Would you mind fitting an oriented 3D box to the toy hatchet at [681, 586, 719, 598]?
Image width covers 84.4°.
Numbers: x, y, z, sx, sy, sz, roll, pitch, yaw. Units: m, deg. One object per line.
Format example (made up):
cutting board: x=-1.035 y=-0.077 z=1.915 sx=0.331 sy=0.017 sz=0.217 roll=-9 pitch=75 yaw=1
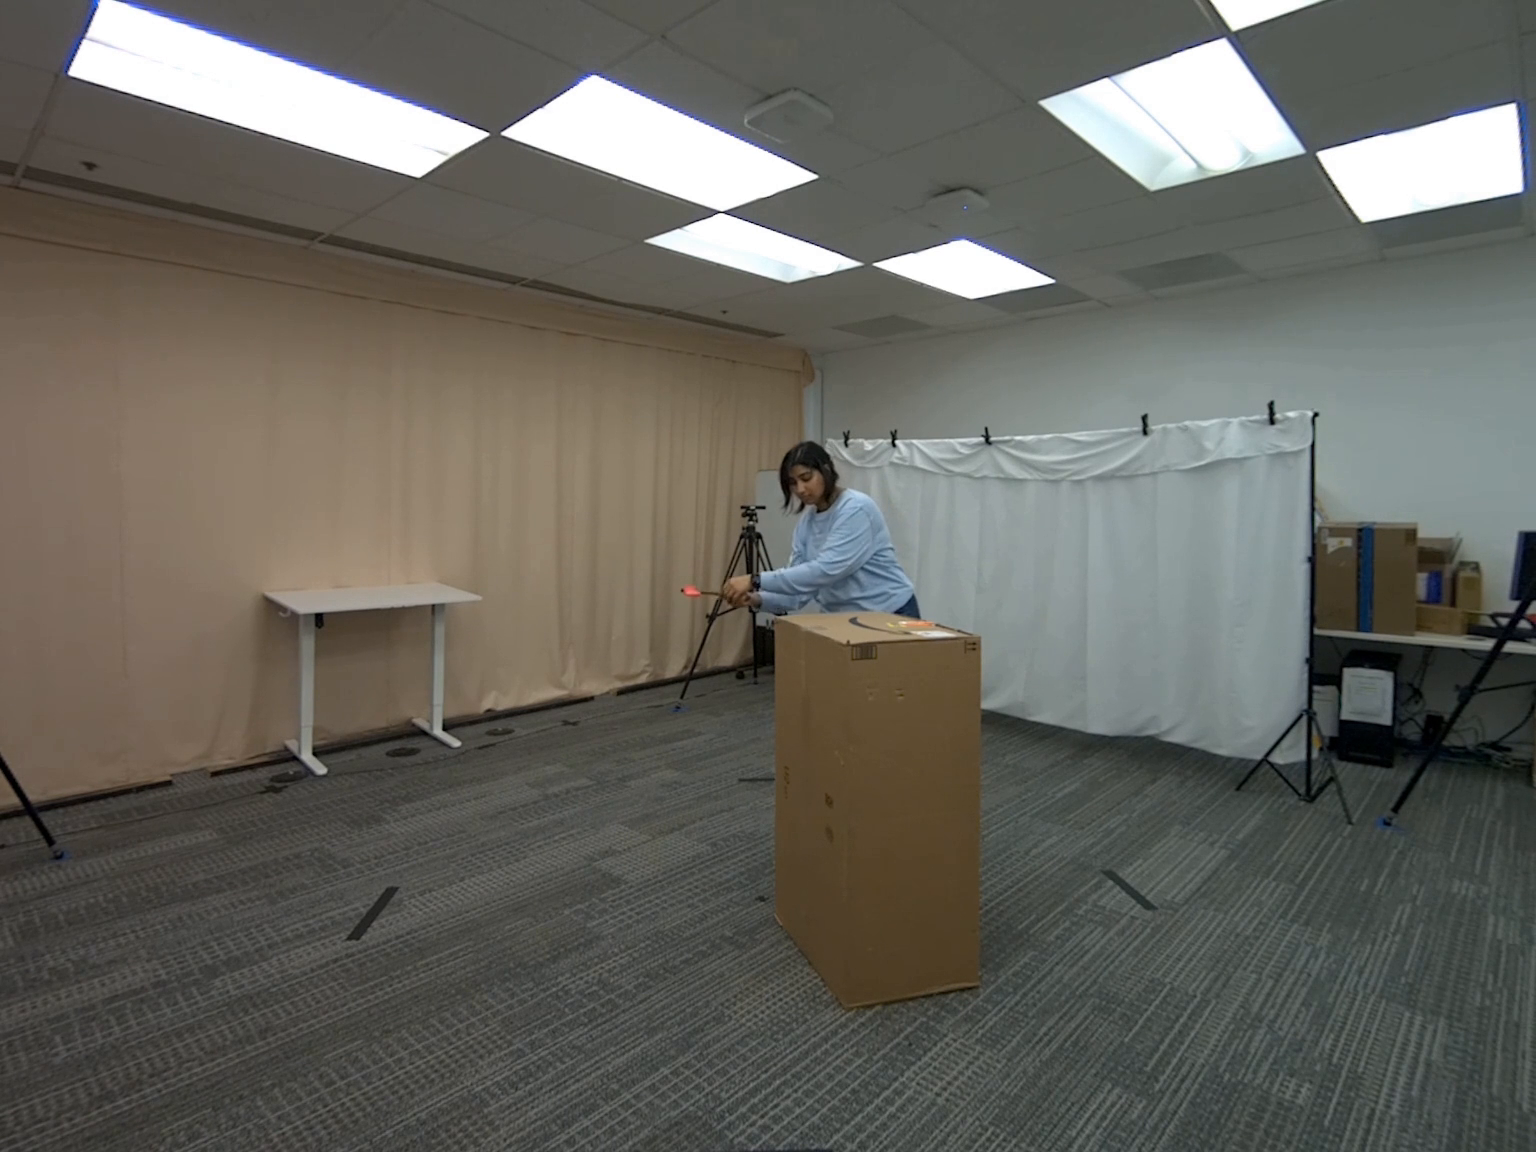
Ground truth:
toy hatchet: x=-0.186 y=0.057 z=3.325 sx=0.275 sy=0.029 sz=0.129 roll=6 pitch=9 yaw=18
